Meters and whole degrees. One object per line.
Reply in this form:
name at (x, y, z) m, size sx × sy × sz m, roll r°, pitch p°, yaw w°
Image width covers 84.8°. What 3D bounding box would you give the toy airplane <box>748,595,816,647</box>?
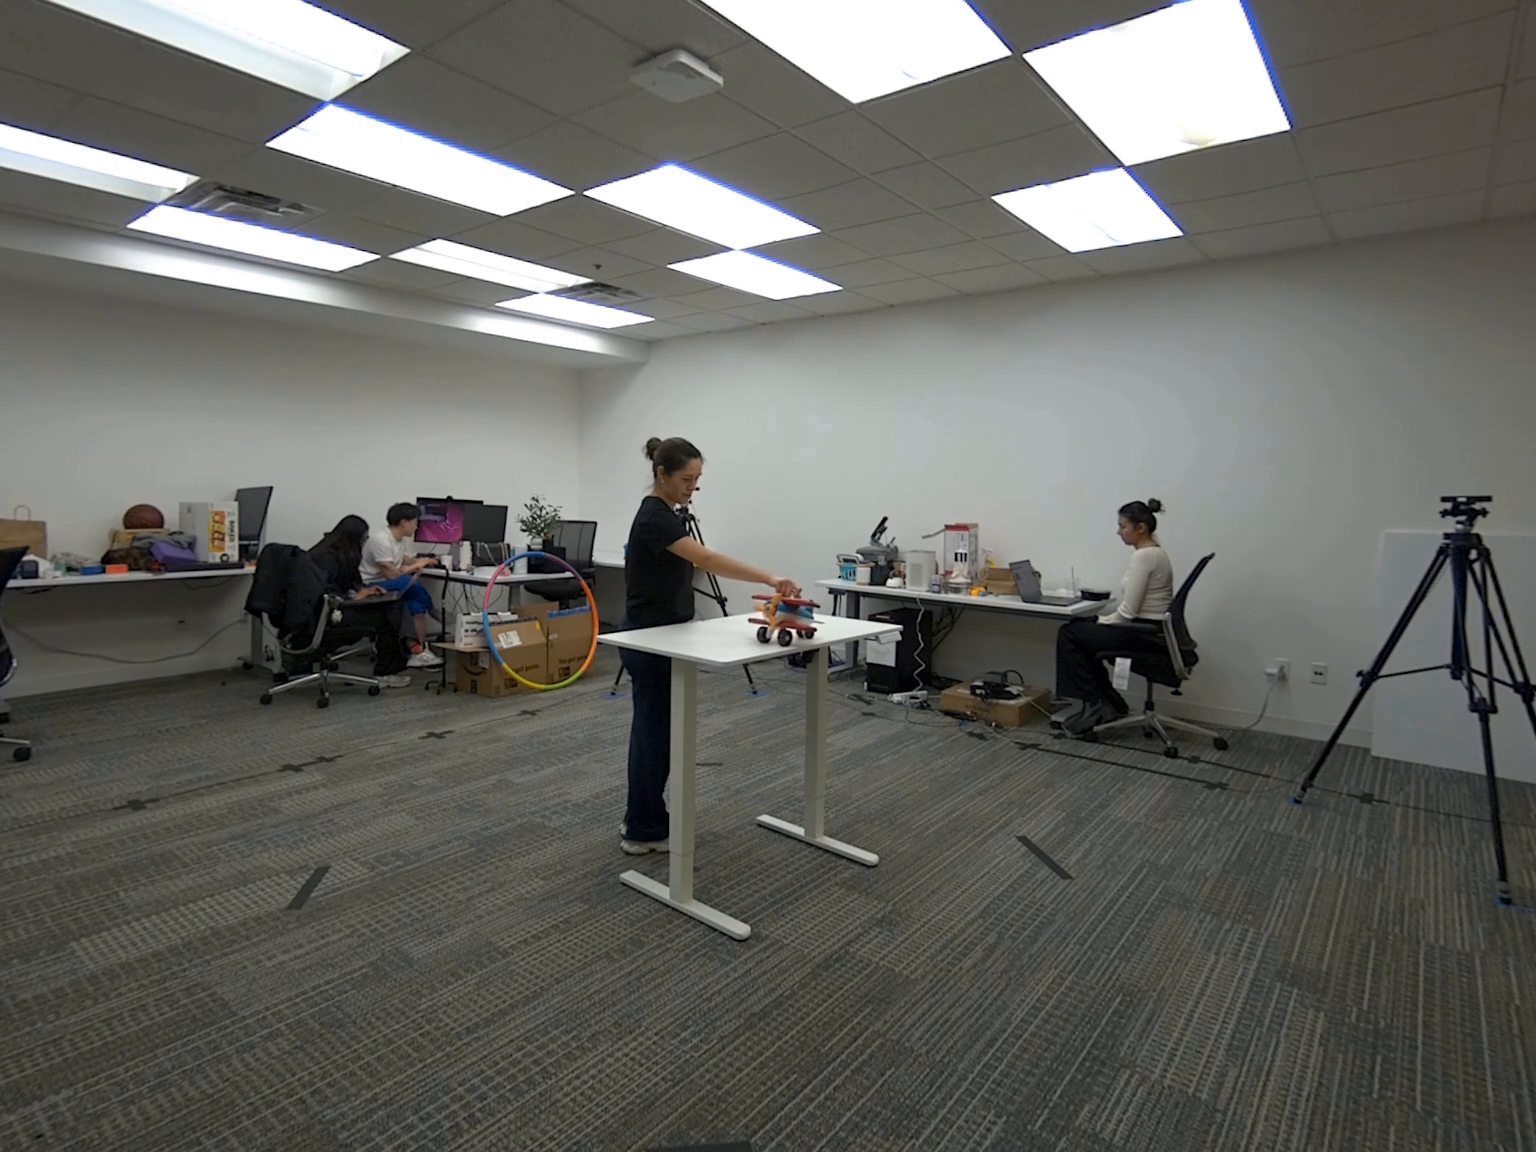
toy airplane at (0.068, 0.137, 2.861) m, size 0.254 × 0.156 × 0.257 m, roll 1°, pitch 5°, yaw 12°
